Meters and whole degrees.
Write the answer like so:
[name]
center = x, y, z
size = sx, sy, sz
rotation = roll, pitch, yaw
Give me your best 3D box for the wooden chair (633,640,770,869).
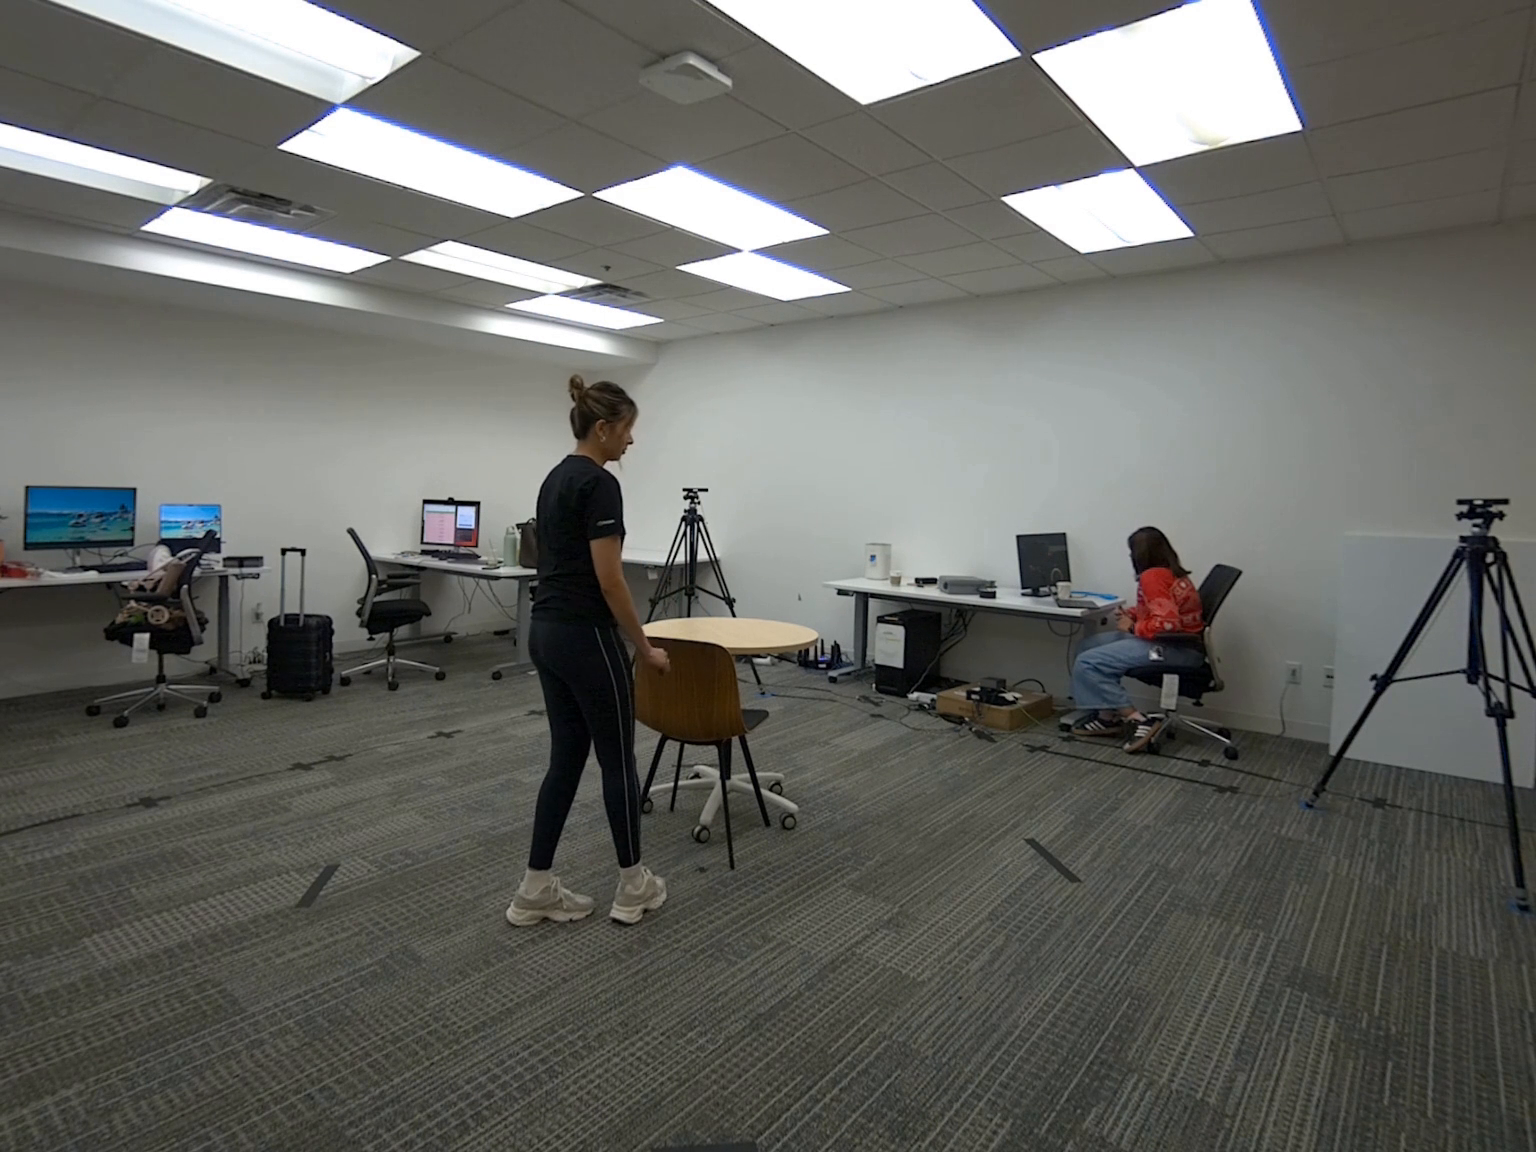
[wooden chair]
center = -0.271, 0.615, 3.372
size = 0.488, 0.872, 0.515
rotation = 2, 7, 20
